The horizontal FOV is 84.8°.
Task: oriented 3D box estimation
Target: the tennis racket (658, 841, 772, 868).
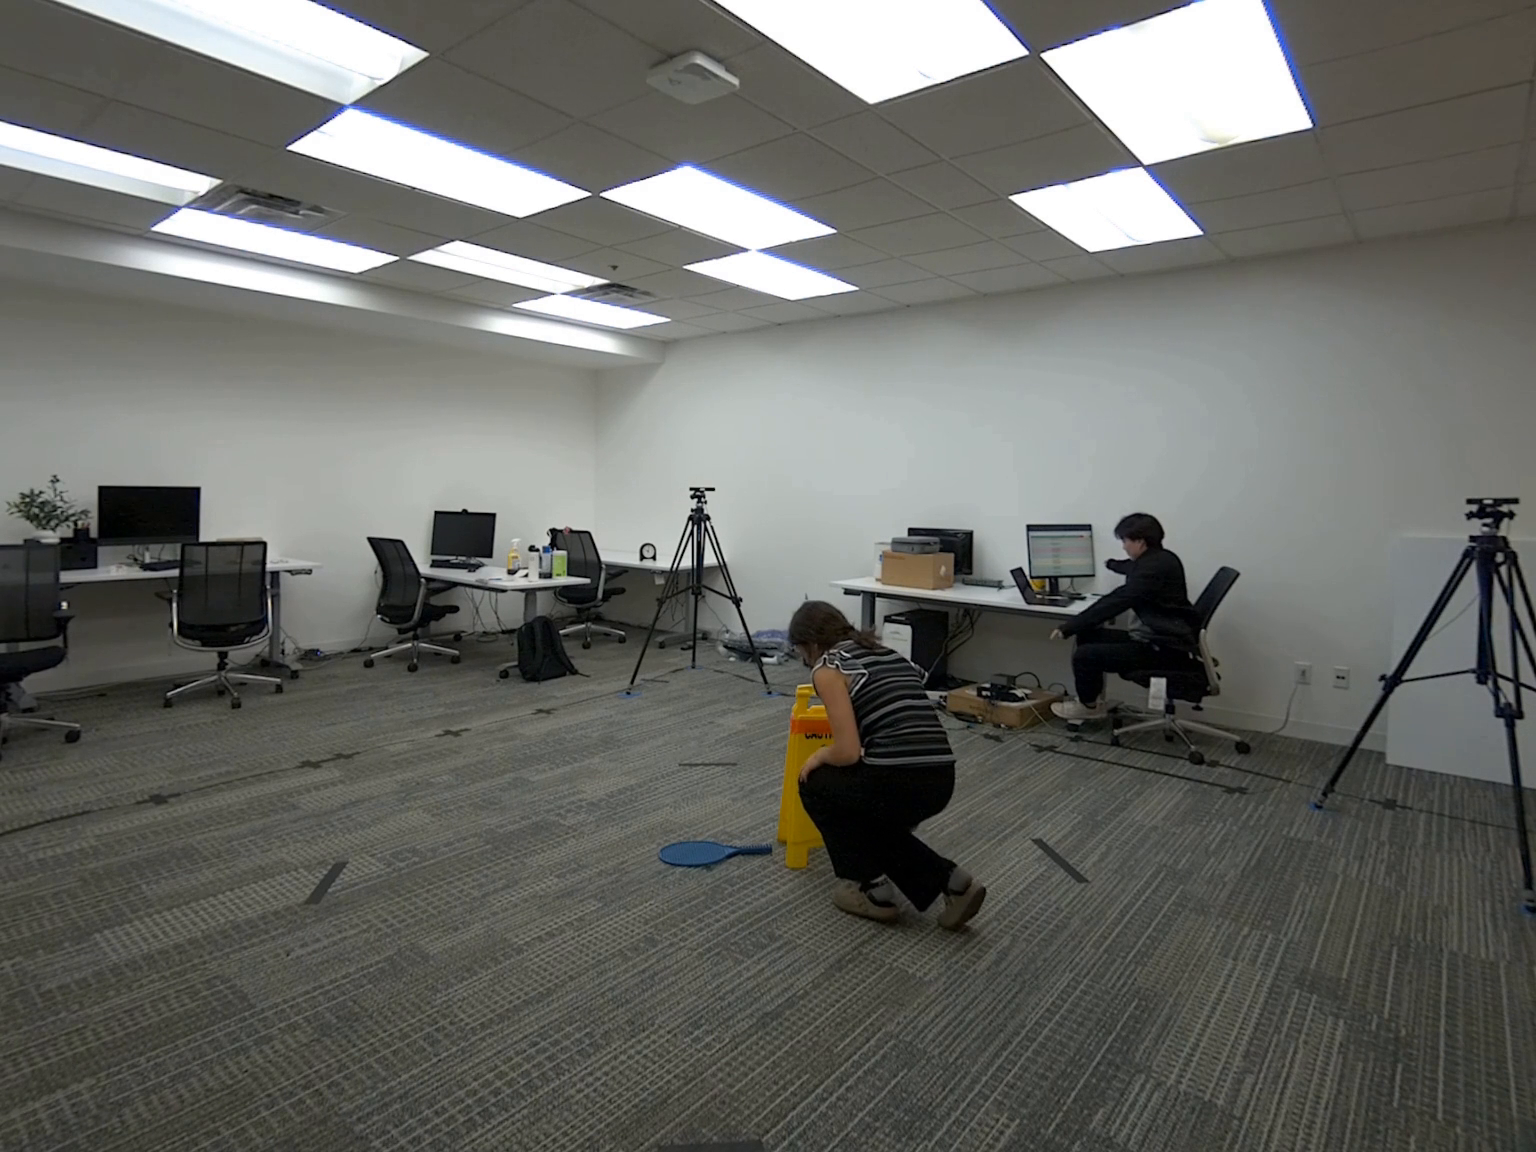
[{"bbox_3d":[-0.212,1.040,3.225,0.431,0.031,0.215,-1,6,-4],"label":"tennis racket"}]
